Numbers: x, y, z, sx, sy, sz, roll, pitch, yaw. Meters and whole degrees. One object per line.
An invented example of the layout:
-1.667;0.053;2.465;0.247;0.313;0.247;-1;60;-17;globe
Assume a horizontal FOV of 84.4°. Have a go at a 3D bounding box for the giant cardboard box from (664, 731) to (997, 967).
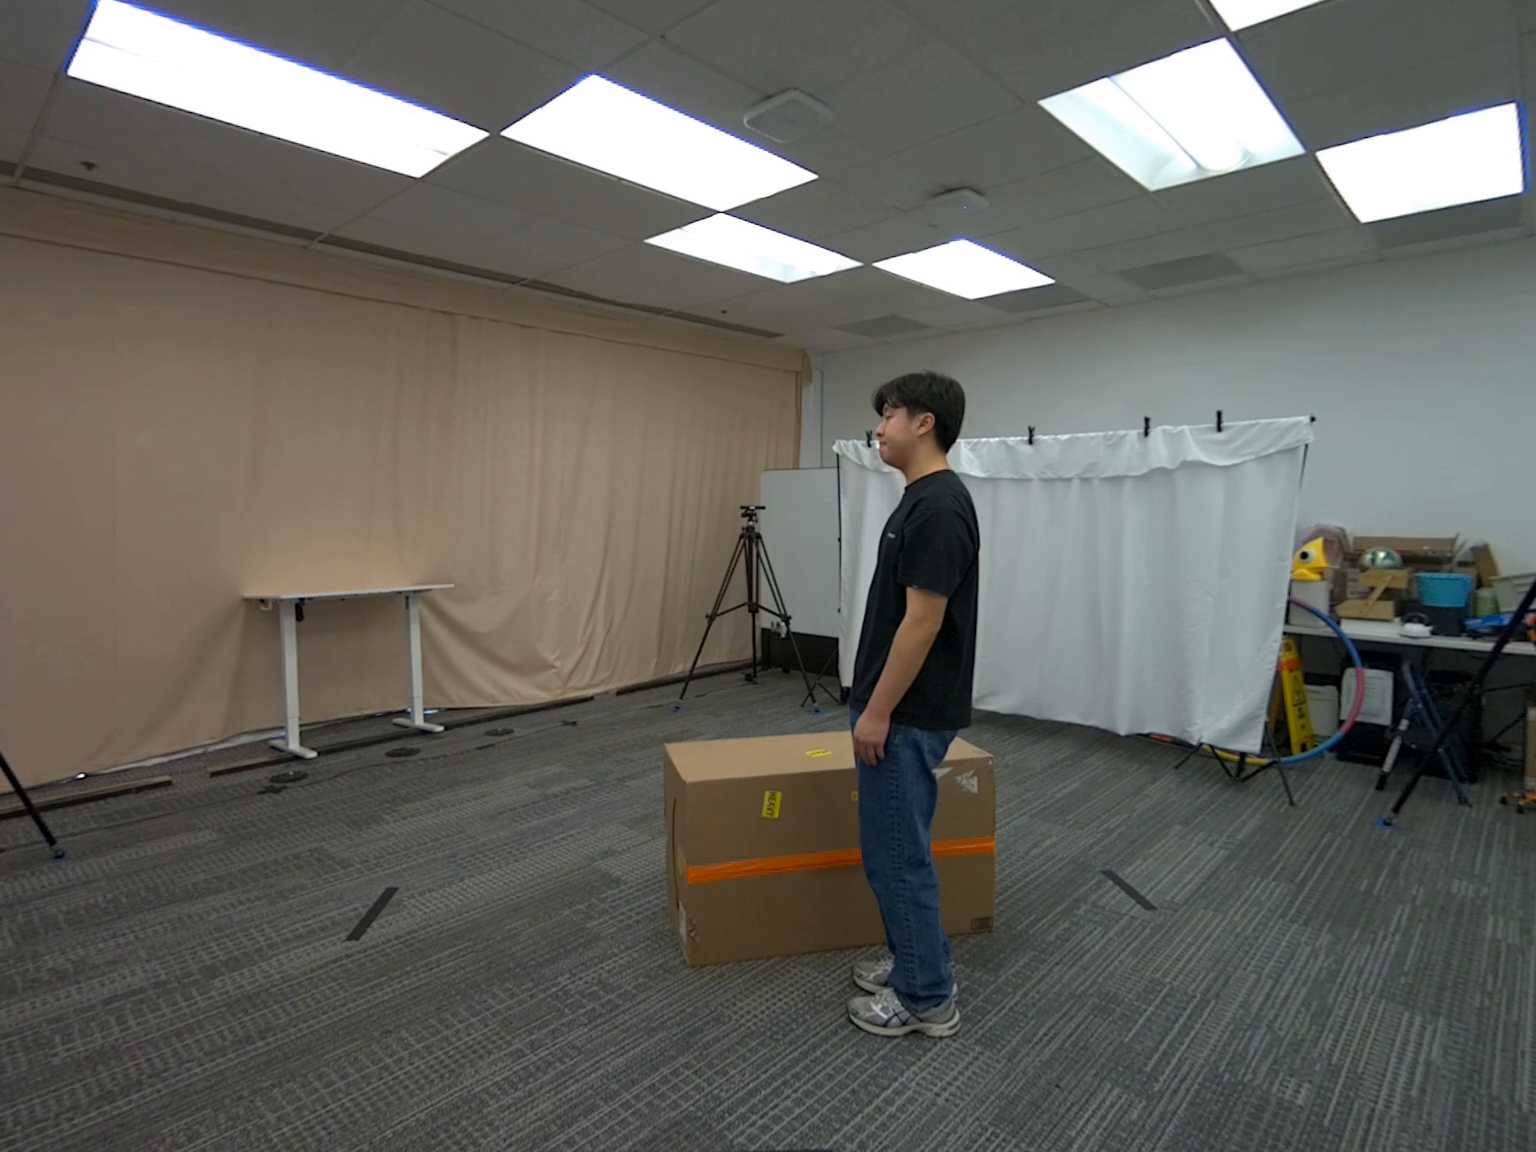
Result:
0.190;0.866;2.830;1.013;0.582;0.454;-2;5;-13;giant cardboard box
